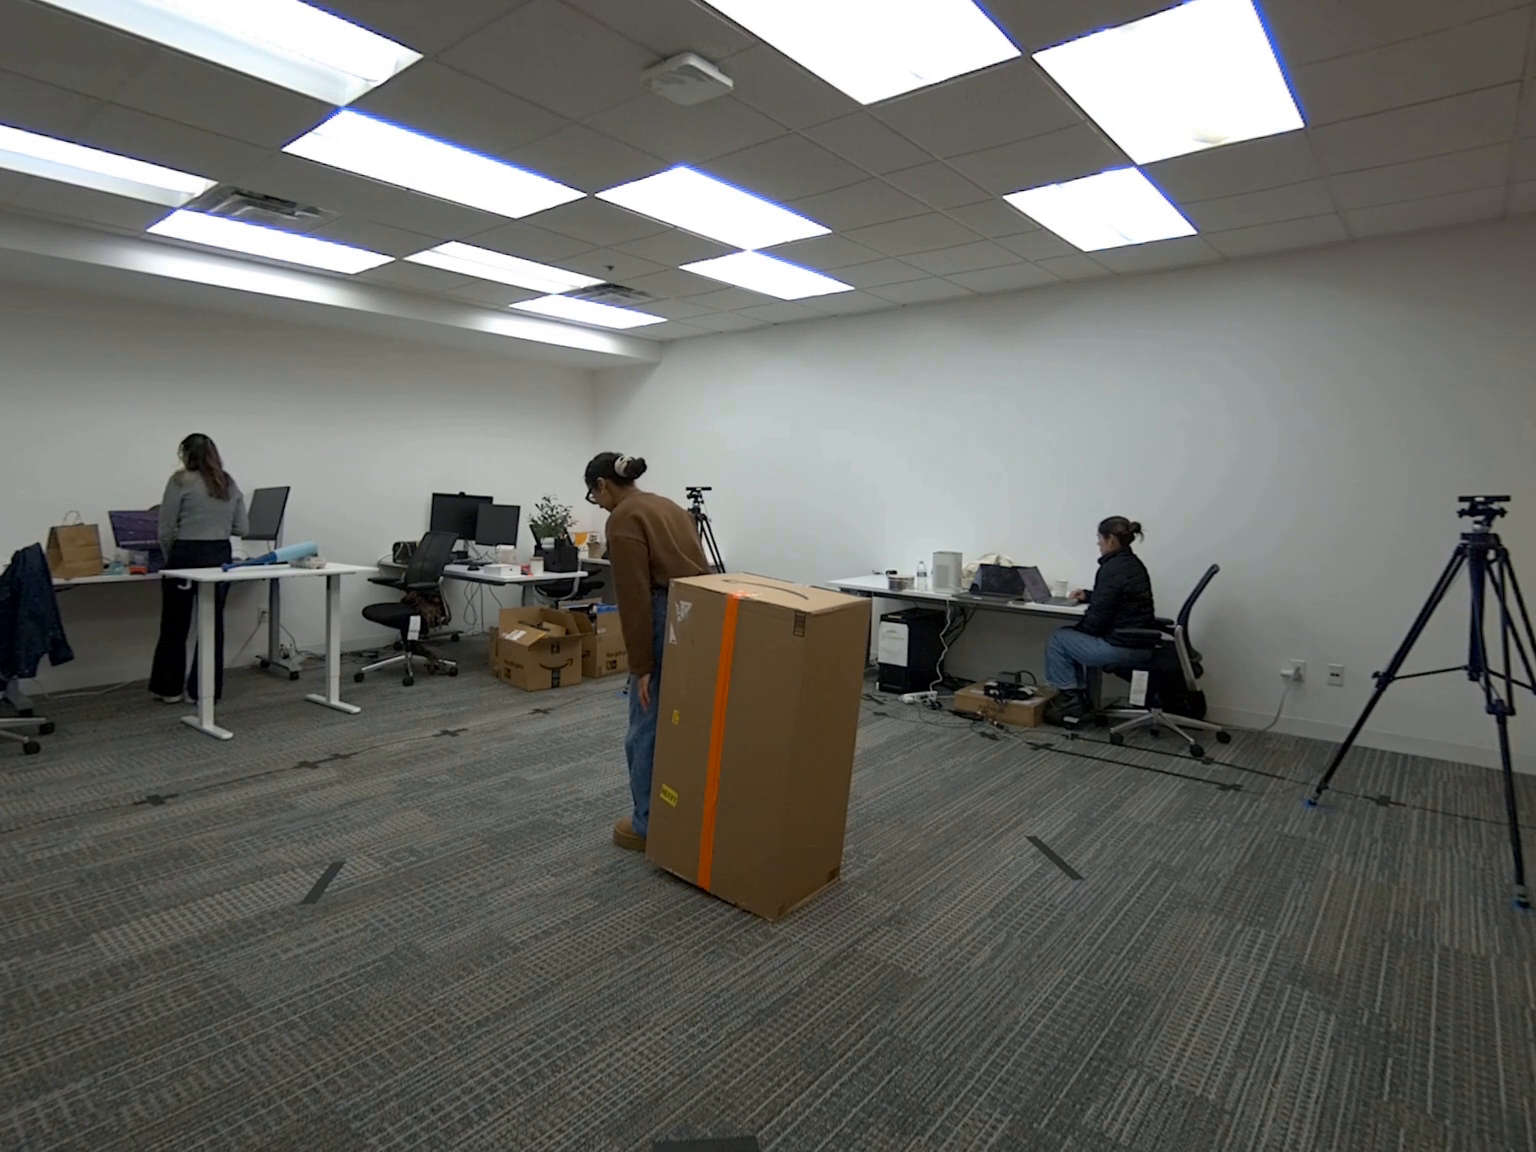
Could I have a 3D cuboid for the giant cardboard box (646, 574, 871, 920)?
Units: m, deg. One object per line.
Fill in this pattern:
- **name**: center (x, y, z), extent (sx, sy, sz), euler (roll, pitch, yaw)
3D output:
- **giant cardboard box**: center (-0.050, 0.550, 2.995), extent (0.604, 1.021, 0.434), euler (10, 8, 35)
